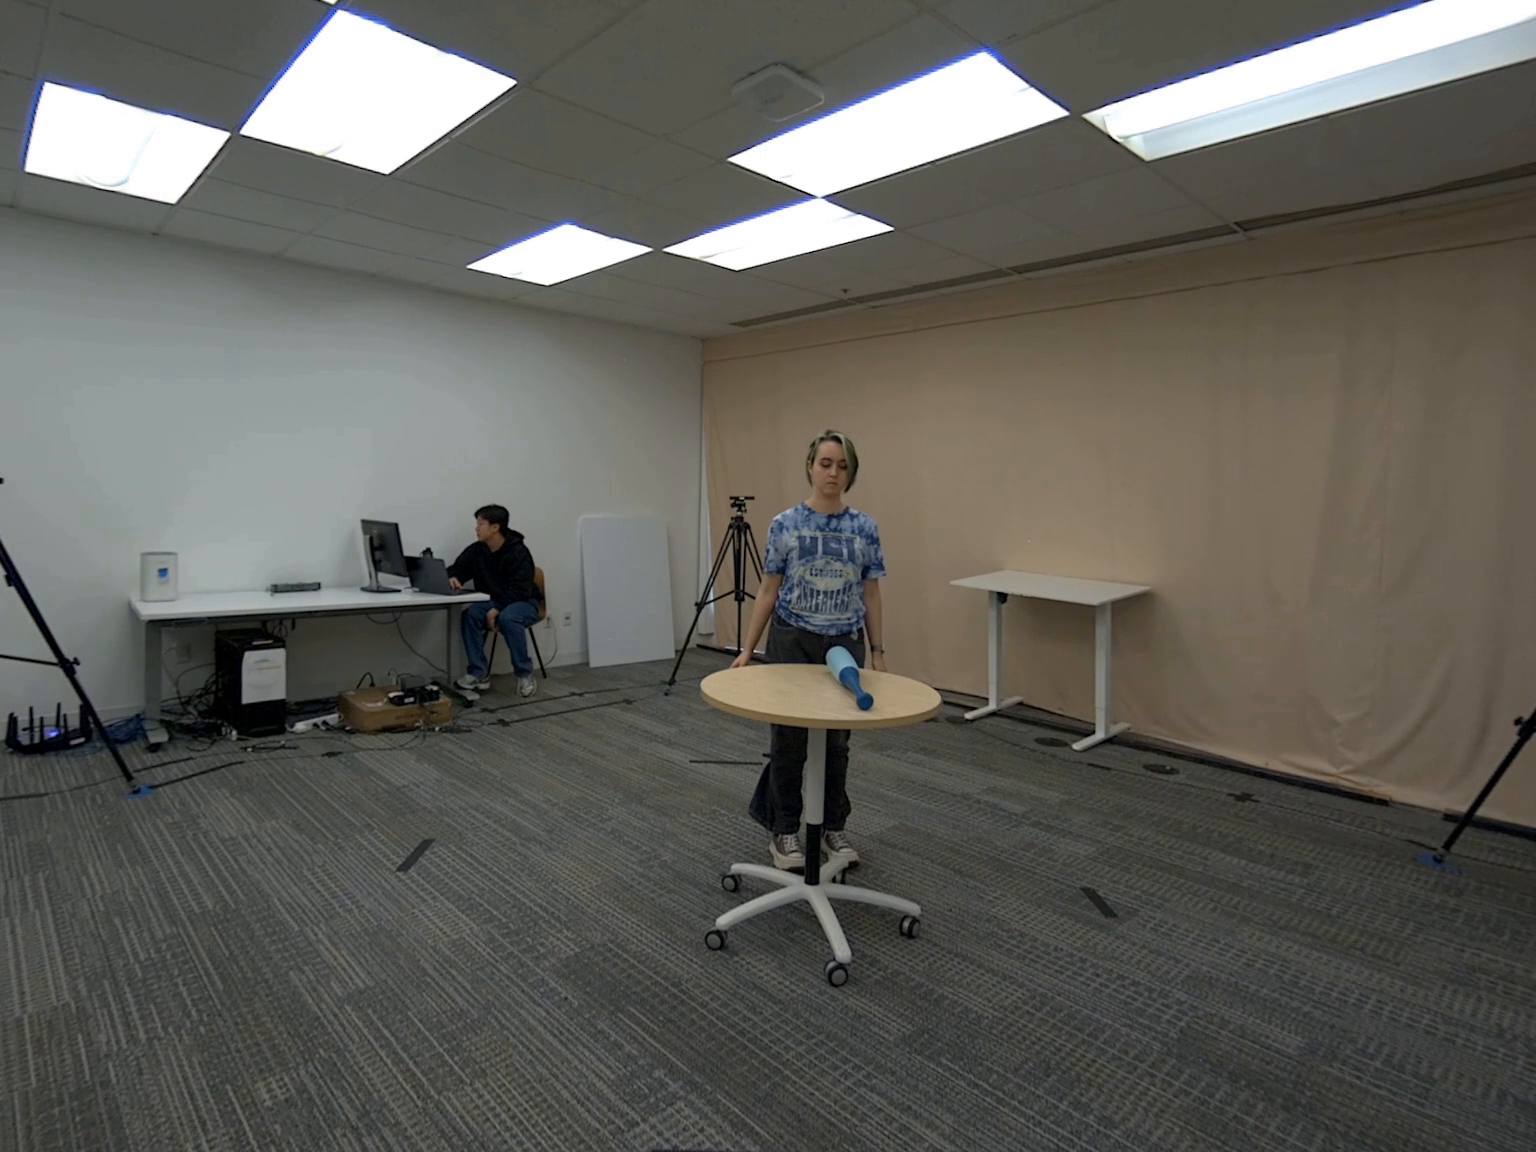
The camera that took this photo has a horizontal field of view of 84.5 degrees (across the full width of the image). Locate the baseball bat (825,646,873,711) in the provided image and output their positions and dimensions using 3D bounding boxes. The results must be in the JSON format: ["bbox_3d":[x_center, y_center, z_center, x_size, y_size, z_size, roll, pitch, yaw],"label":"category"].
[{"bbox_3d":[0.256,0.330,2.699,0.089,0.088,0.547,1,8,-5],"label":"baseball bat"}]
